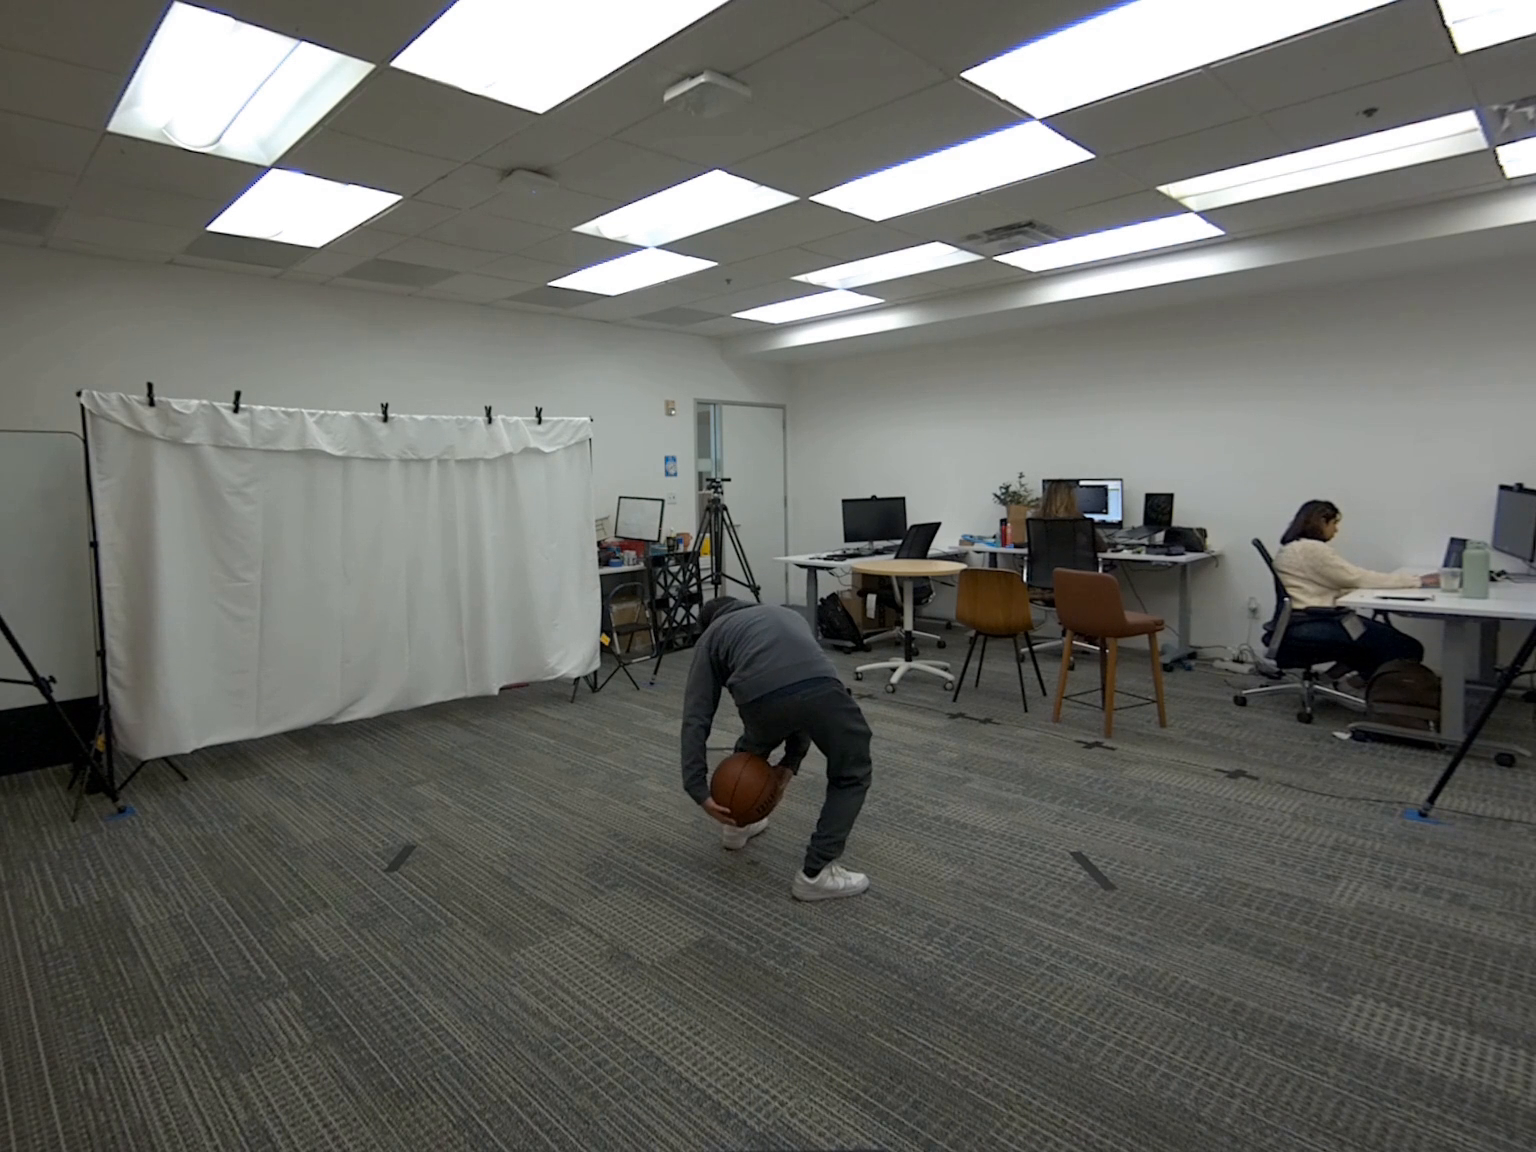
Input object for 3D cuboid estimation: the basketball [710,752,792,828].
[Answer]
[{"bbox_3d":[-0.076,0.724,2.928,0.236,0.235,0.237,-1,5,-2],"label":"basketball"}]
